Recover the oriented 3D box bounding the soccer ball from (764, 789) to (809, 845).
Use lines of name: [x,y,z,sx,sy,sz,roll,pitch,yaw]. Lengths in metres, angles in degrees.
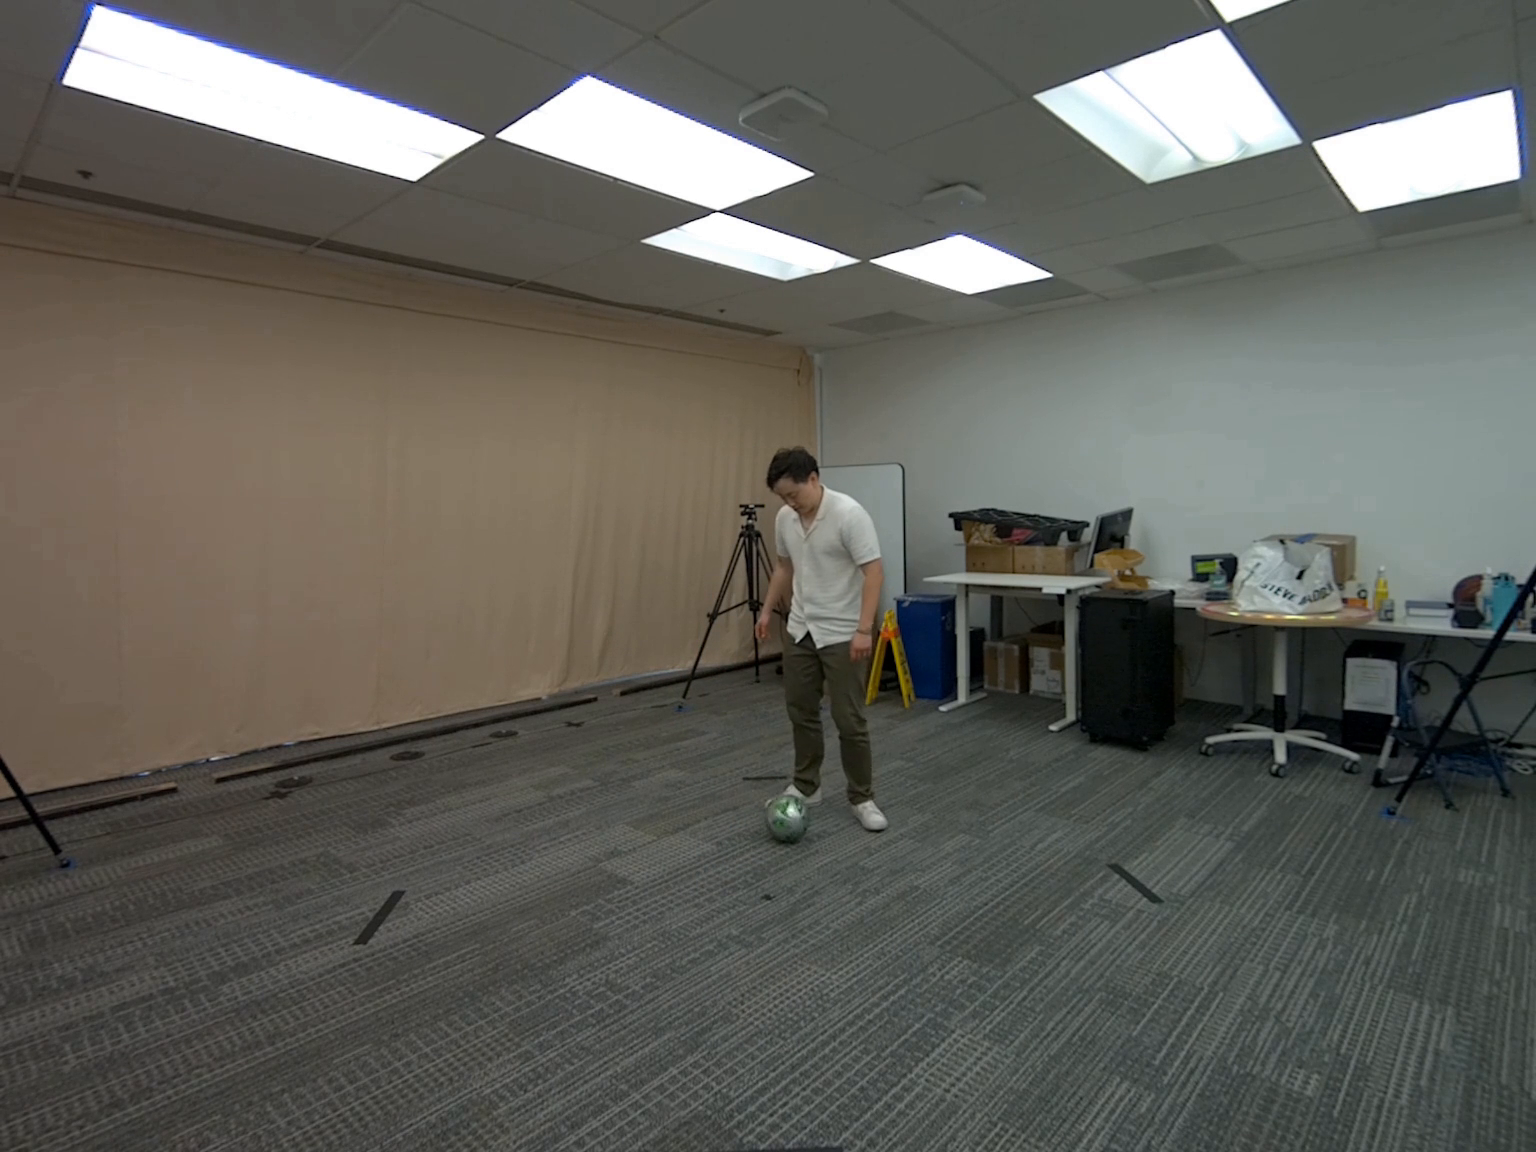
soccer ball: [0.075,0.999,3.480,0.187,0.187,0.188,-1,4,-2]
